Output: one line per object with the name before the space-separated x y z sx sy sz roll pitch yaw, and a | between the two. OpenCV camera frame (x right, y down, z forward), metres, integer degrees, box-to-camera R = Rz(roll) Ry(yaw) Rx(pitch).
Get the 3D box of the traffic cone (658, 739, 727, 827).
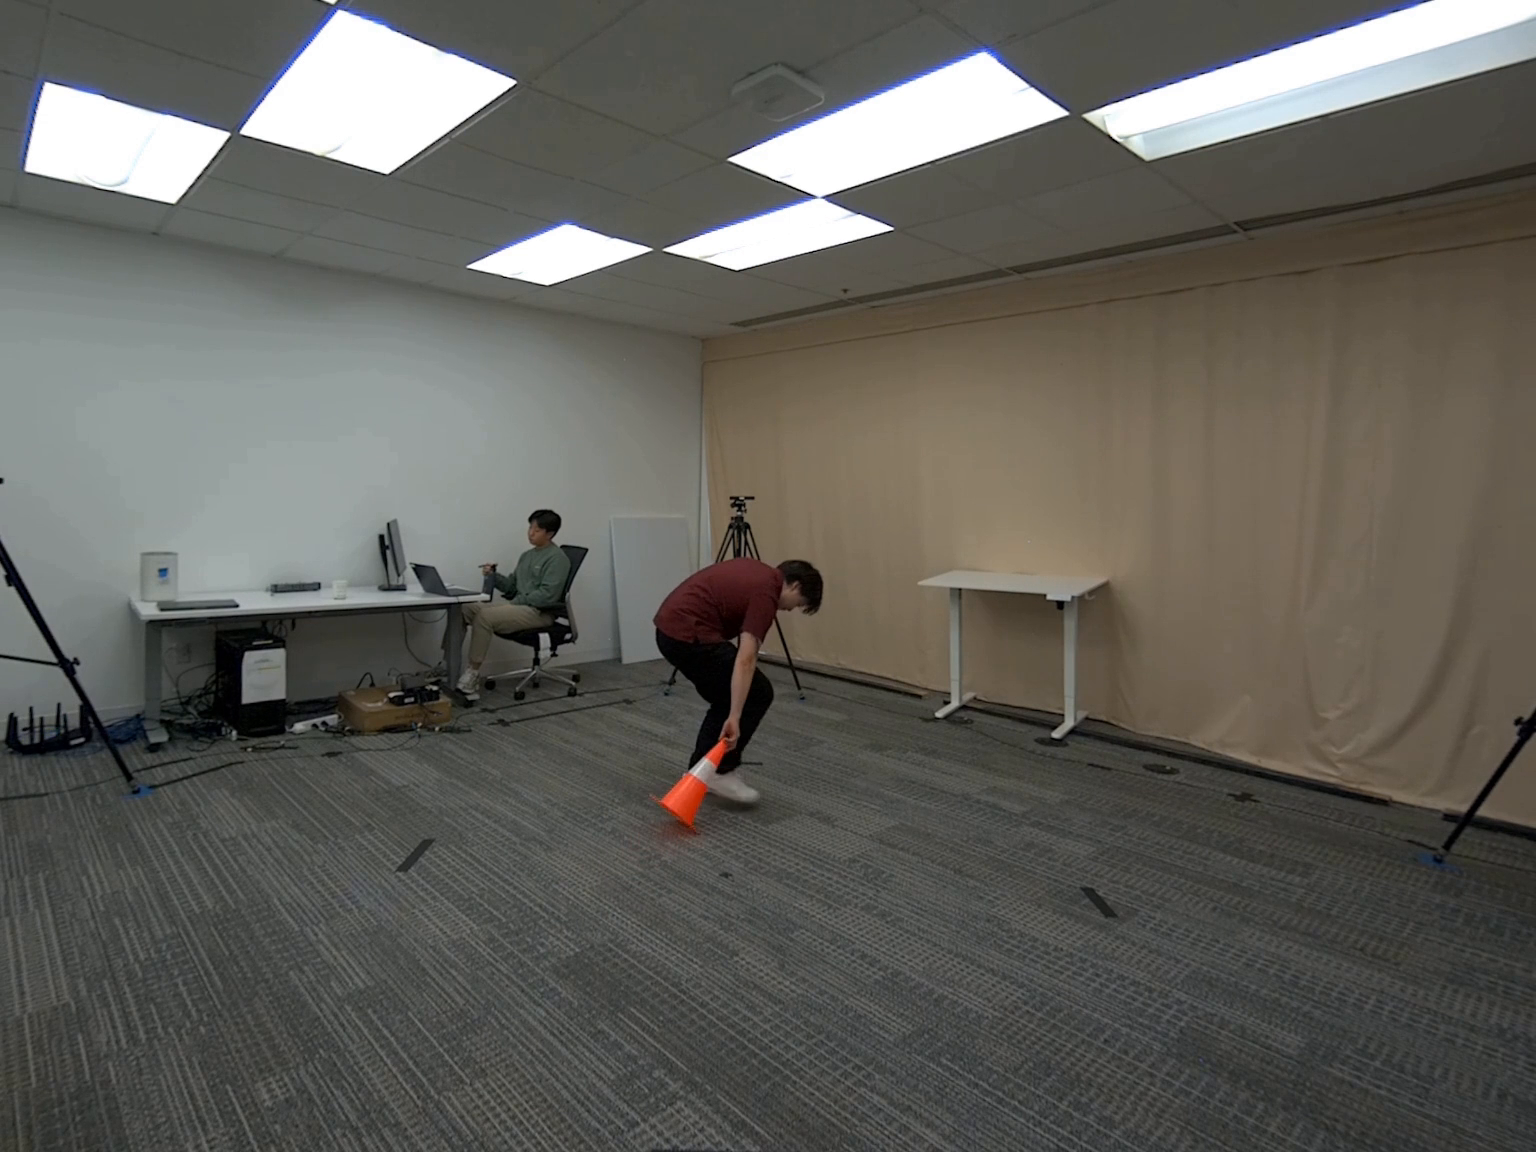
traffic cone | -0.295 0.859 3.580 0.201 0.384 0.207 43 -19 -12
